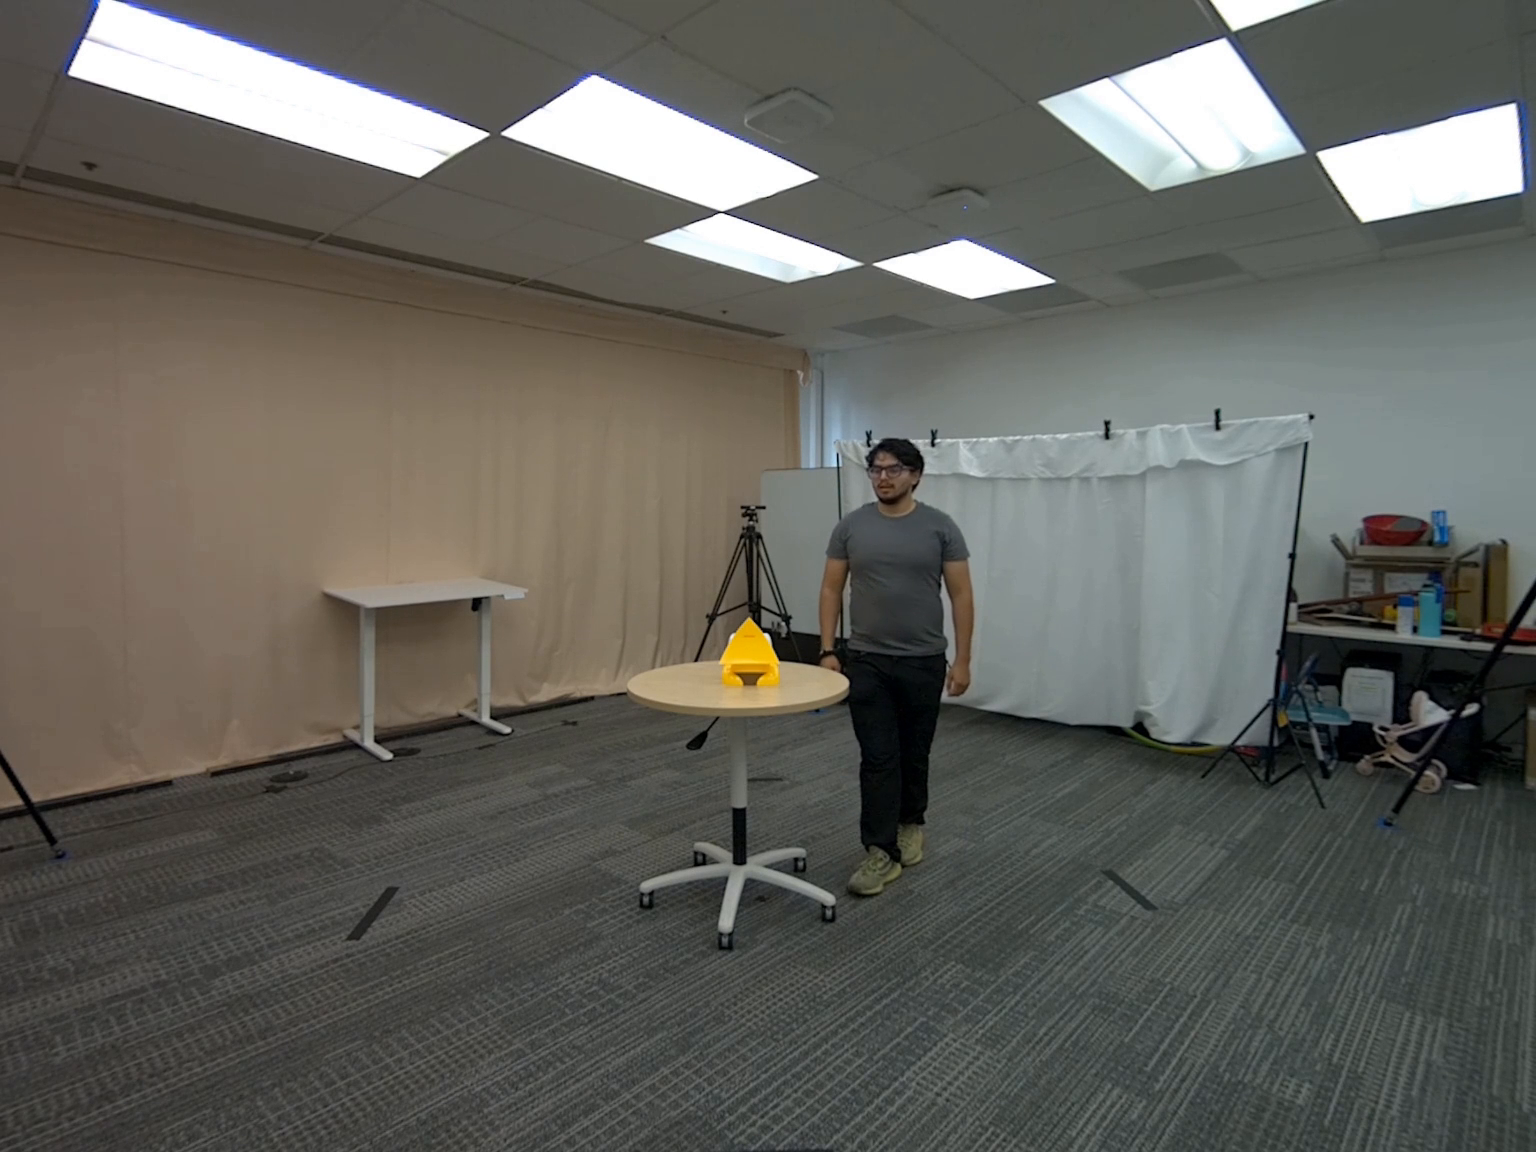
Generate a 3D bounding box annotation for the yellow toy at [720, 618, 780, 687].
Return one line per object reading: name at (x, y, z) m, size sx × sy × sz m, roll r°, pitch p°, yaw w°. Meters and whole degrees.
yellow toy at (-0.060, 0.251, 2.905) m, size 0.205 × 0.230 × 0.193 m, roll 0°, pitch 3°, yaw 3°
